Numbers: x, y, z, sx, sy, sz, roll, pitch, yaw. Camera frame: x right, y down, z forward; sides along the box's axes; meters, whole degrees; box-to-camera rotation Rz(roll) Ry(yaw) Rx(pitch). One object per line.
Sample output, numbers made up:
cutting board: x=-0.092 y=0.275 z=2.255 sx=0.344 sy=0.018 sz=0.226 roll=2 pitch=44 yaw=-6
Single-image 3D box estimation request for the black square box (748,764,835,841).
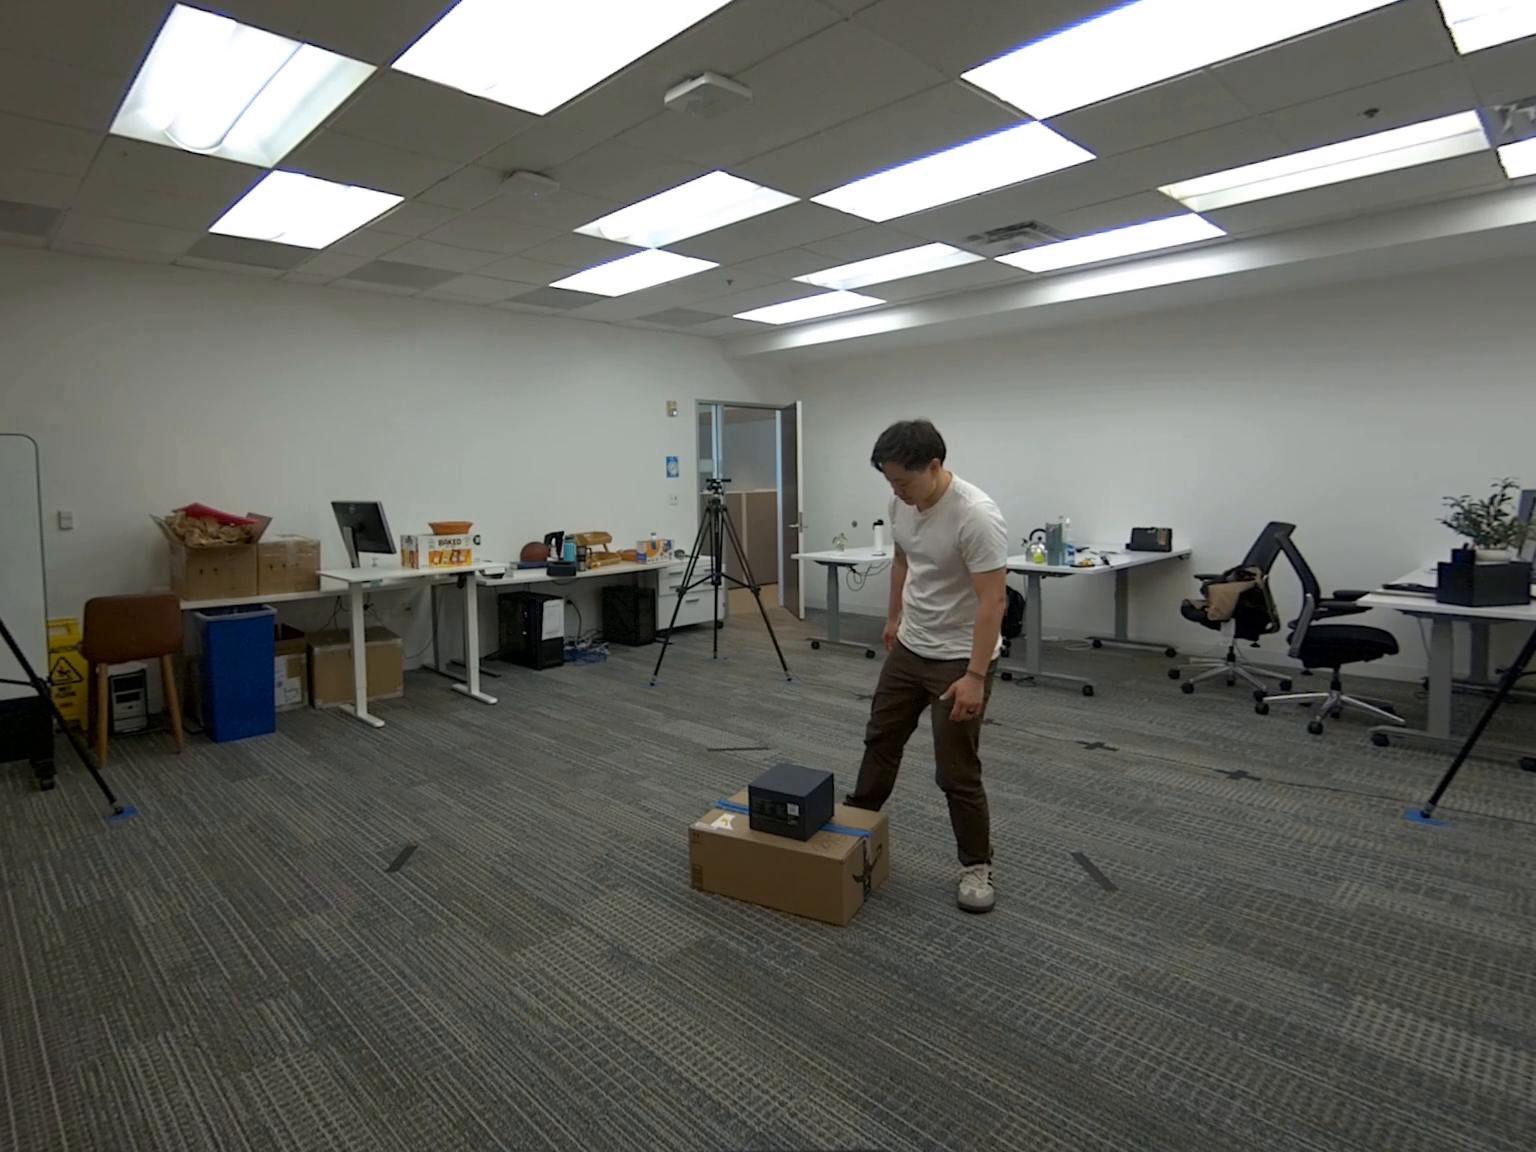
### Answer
black square box: x=0.085 y=0.763 z=2.915 sx=0.223 sy=0.155 sz=0.223 roll=3 pitch=9 yaw=31
